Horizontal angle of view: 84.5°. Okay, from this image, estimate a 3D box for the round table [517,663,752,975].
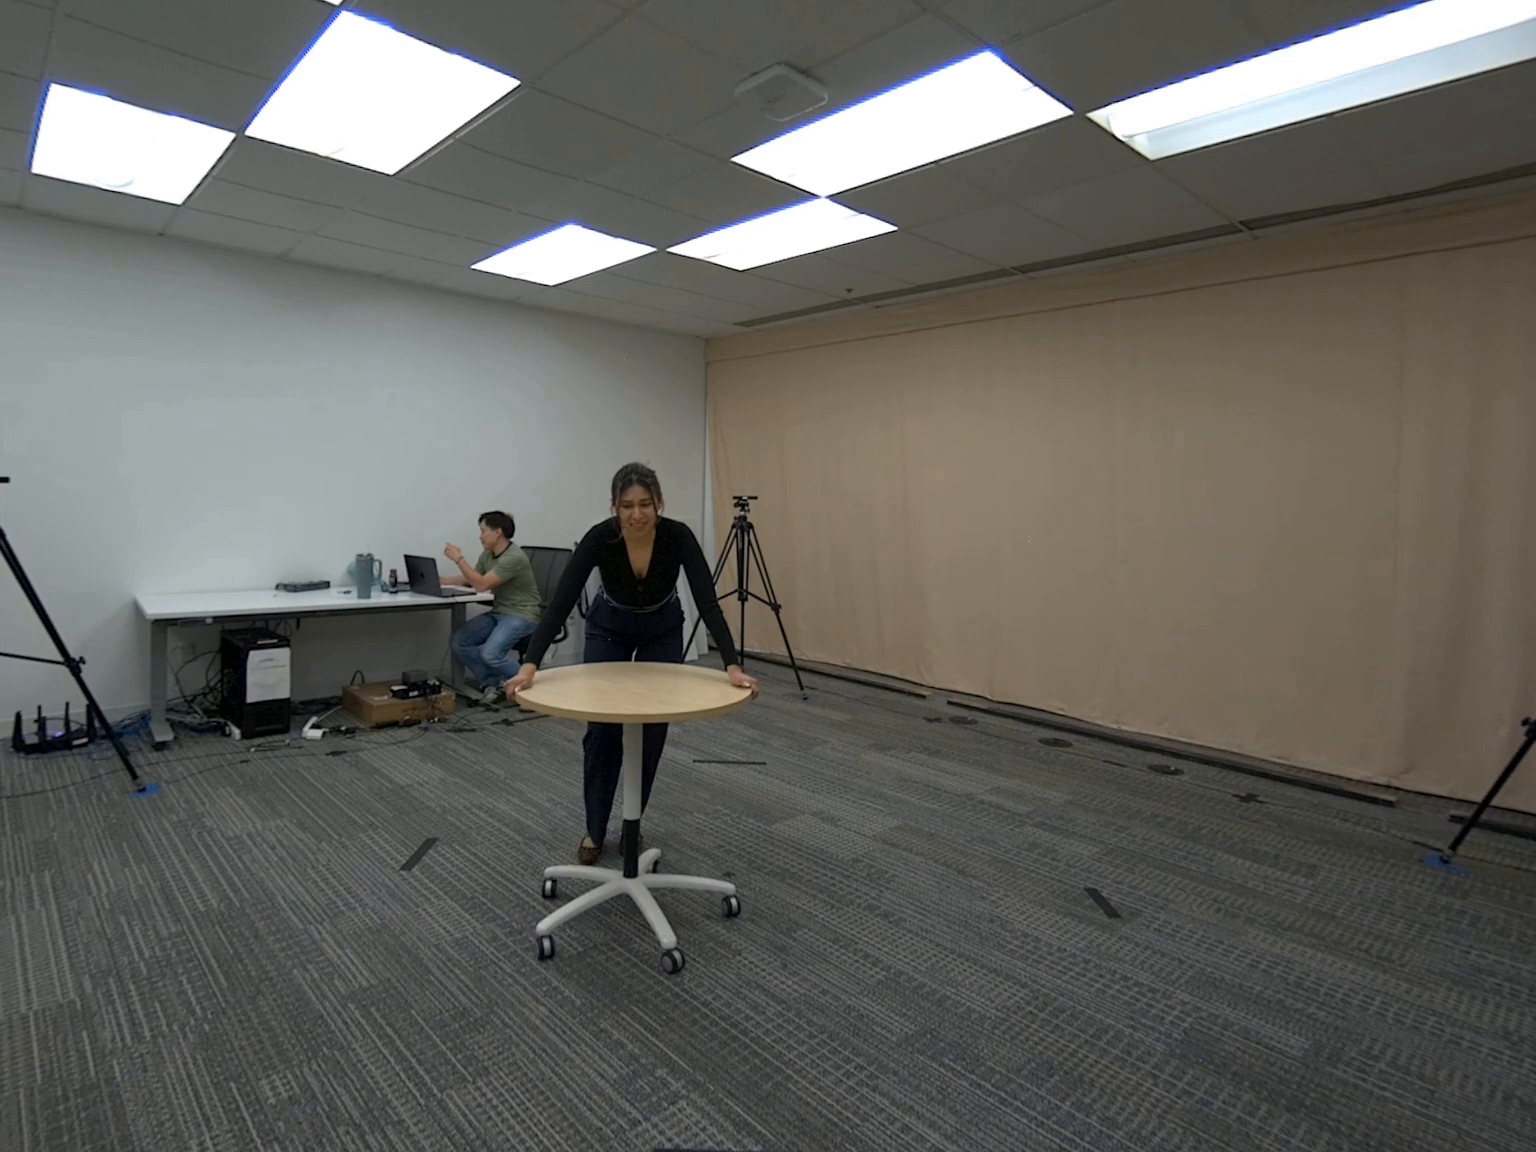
[{"bbox_3d":[-0.448,0.746,2.744,0.763,0.792,0.766,1,4,-1],"label":"round table"}]
